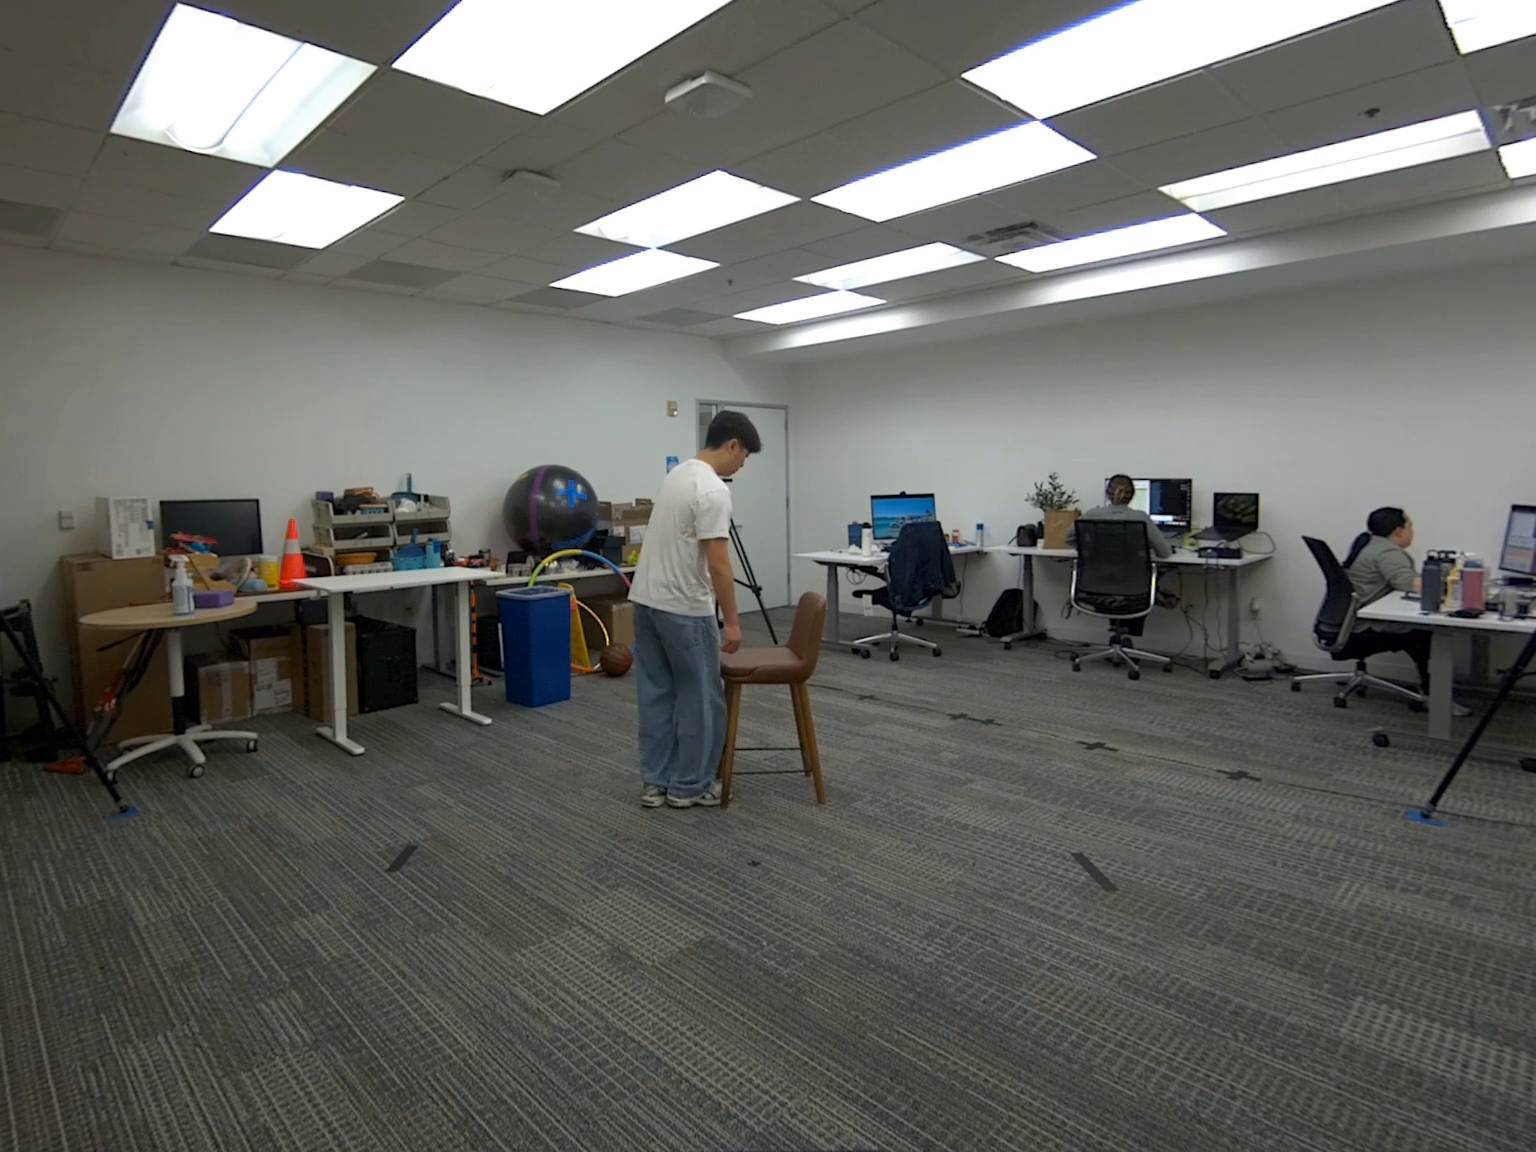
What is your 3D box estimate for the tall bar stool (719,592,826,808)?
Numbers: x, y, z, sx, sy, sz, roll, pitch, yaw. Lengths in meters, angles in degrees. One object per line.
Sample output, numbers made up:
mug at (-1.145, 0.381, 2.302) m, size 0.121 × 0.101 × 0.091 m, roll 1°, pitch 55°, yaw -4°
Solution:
tall bar stool at (0.006, 0.530, 3.813) m, size 0.465 × 0.887 × 0.460 m, roll 1°, pitch 3°, yaw -6°
